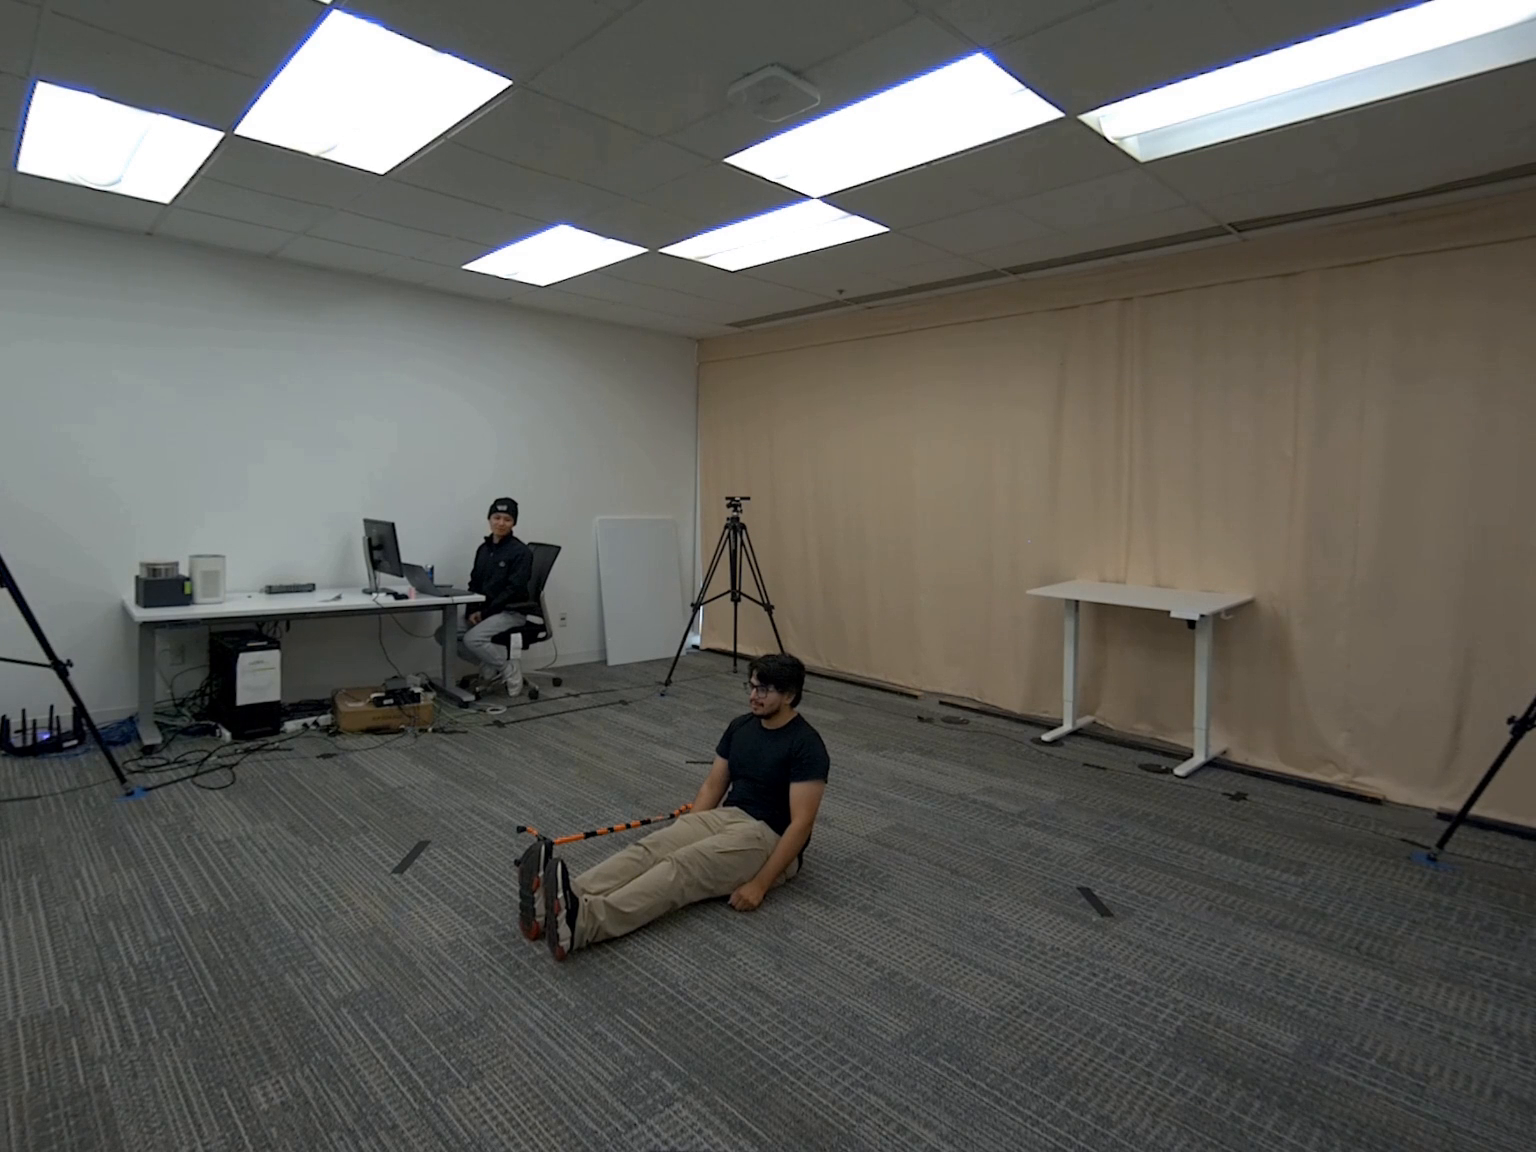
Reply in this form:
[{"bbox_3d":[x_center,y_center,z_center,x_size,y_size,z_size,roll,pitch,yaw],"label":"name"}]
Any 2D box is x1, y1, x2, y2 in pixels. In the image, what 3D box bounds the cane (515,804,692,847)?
[{"bbox_3d":[-0.573,1.018,3.400,0.211,0.152,0.885,3,0,42],"label":"cane"}]
